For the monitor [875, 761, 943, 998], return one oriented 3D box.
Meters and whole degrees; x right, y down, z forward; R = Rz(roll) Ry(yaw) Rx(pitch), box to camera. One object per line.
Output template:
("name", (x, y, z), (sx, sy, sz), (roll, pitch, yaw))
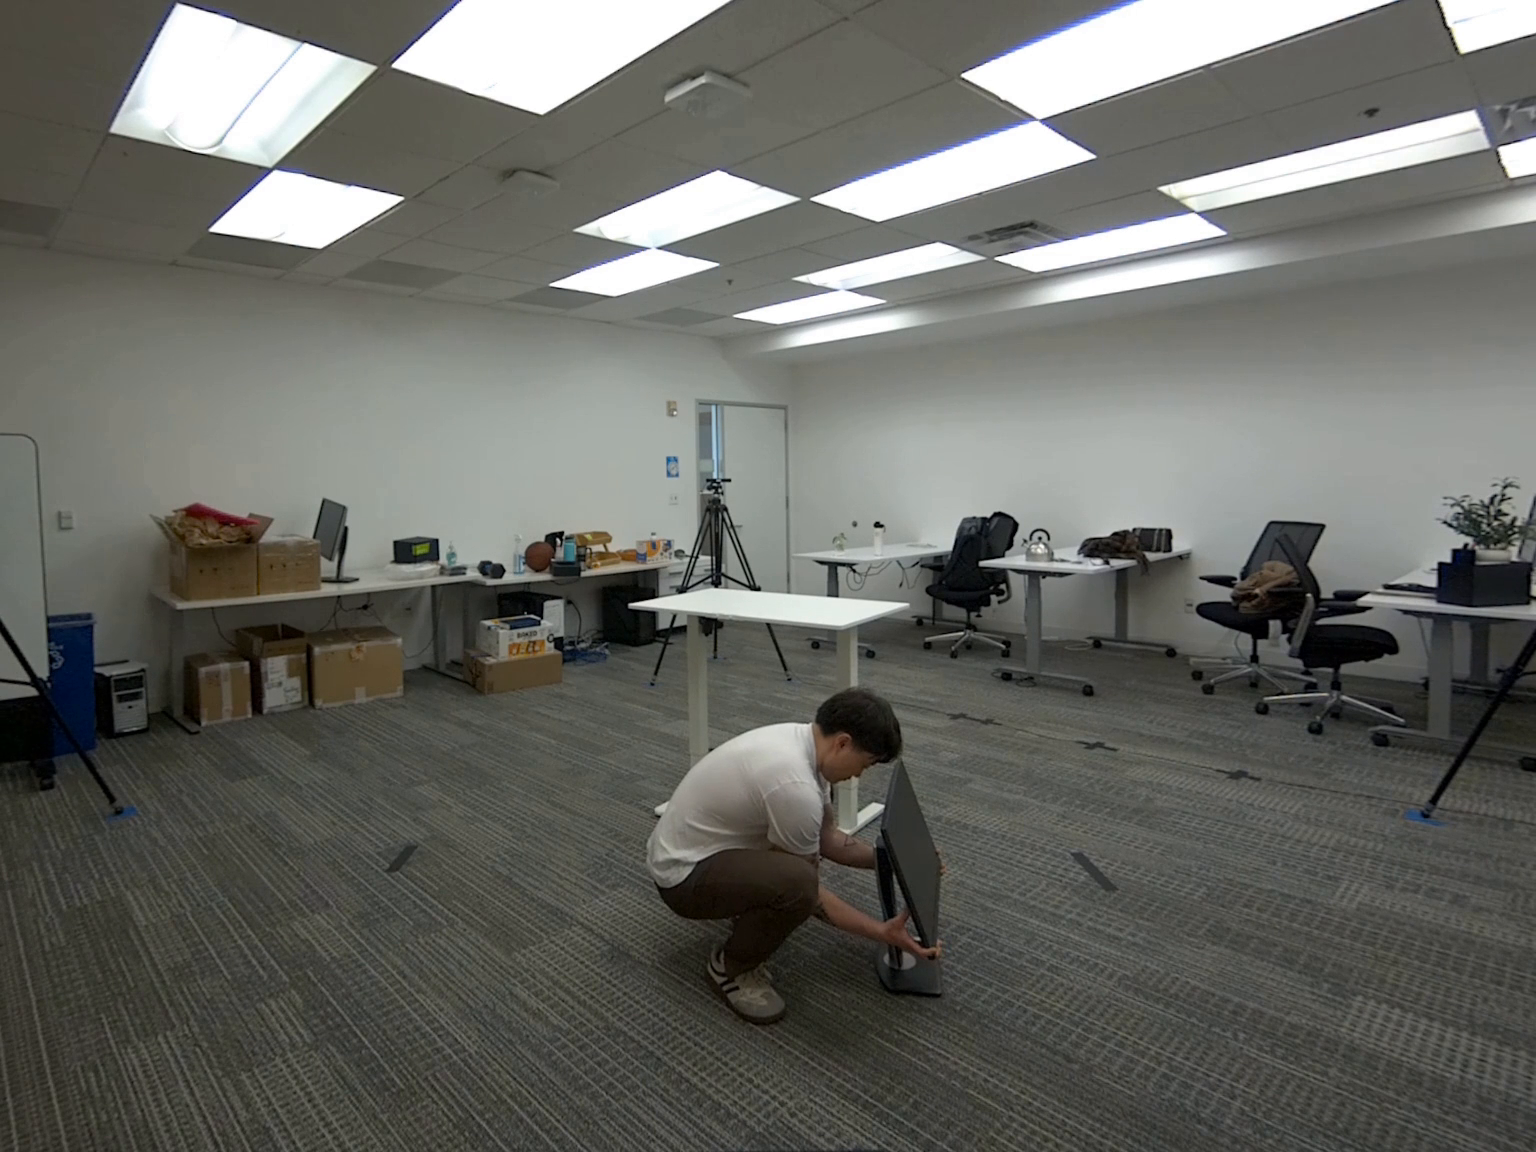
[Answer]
("monitor", (0.385, 0.856, 2.422), (0.189, 0.520, 0.536), (-4, 6, 11))
